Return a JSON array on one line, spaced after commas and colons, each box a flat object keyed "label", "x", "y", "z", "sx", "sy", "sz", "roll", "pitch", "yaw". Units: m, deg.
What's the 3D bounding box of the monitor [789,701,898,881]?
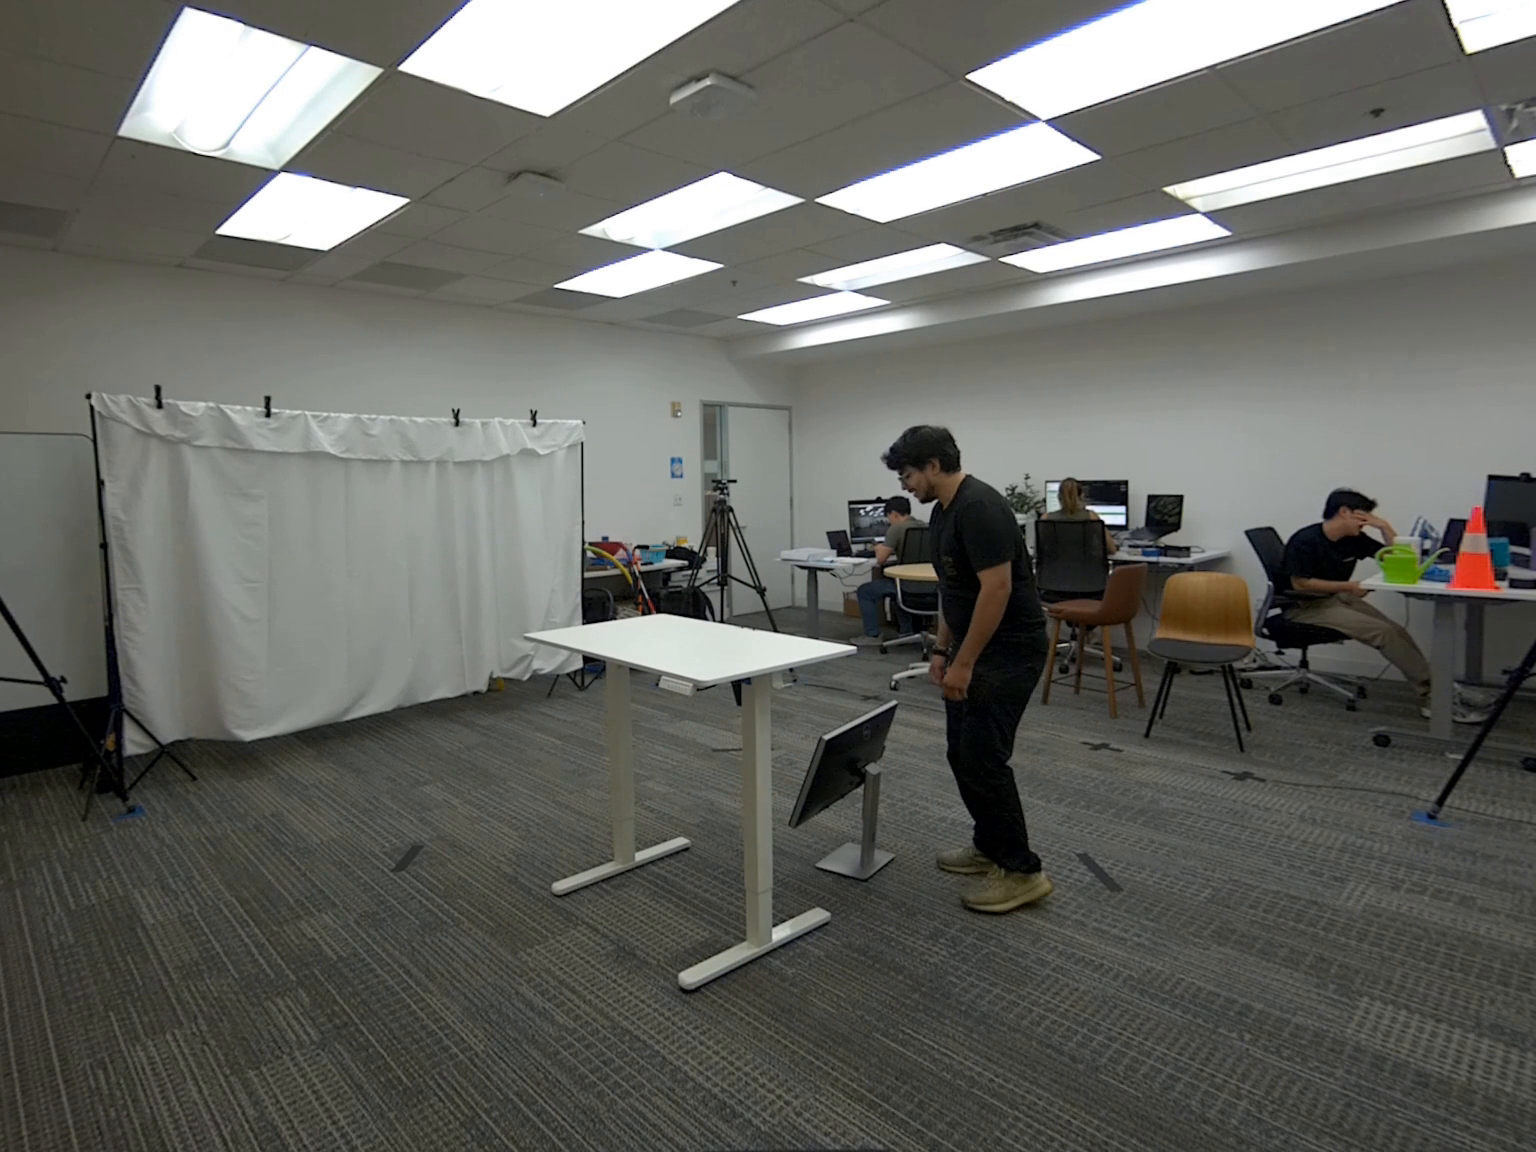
[{"label": "monitor", "x": 0.342, "y": 0.779, "z": 3.071, "sx": 0.217, "sy": 0.550, "sz": 0.552, "roll": 13, "pitch": 12, "yaw": 33}]
